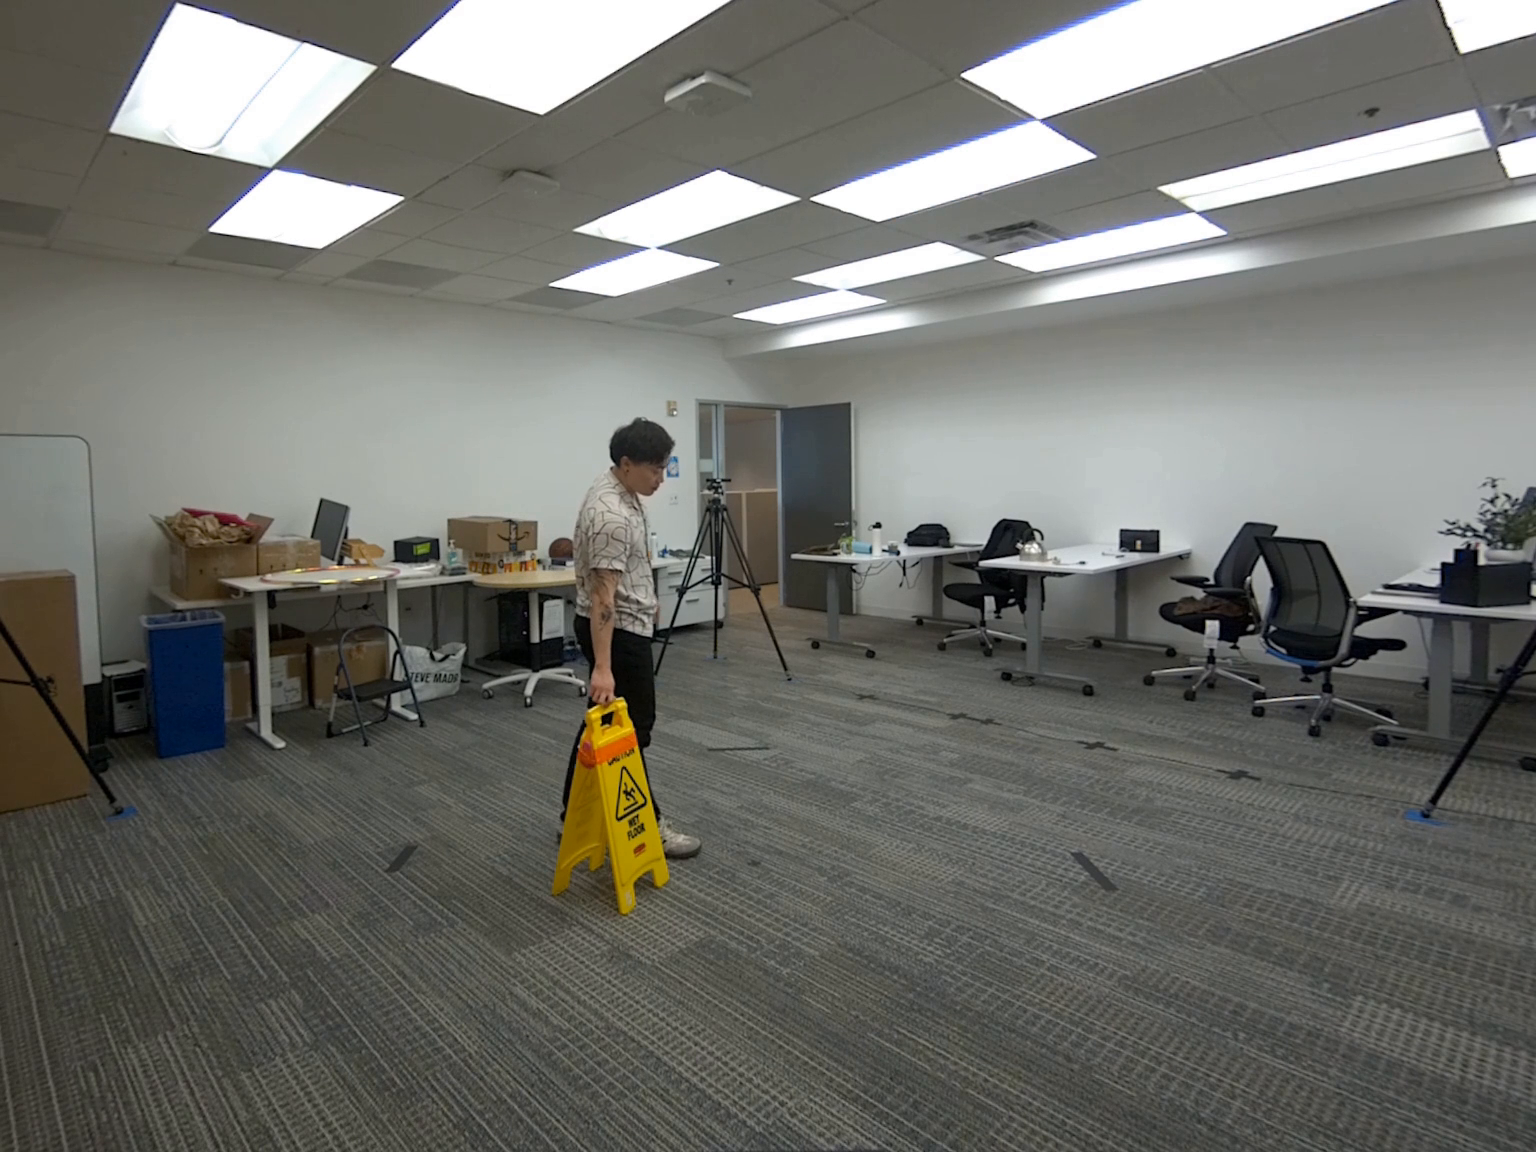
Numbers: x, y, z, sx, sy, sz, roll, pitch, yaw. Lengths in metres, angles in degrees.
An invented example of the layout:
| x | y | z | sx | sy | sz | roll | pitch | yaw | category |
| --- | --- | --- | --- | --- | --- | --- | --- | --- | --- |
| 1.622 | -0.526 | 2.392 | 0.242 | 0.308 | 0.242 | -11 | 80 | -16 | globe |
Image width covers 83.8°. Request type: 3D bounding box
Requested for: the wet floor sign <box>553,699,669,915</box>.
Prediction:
| x | y | z | sx | sy | sz | roll | pitch | yaw | category |
| --- | --- | --- | --- | --- | --- | --- | --- | --- | --- |
| -0.540 | 0.752 | 2.919 | 0.297 | 0.643 | 0.276 | 2 | 6 | 28 | wet floor sign |
